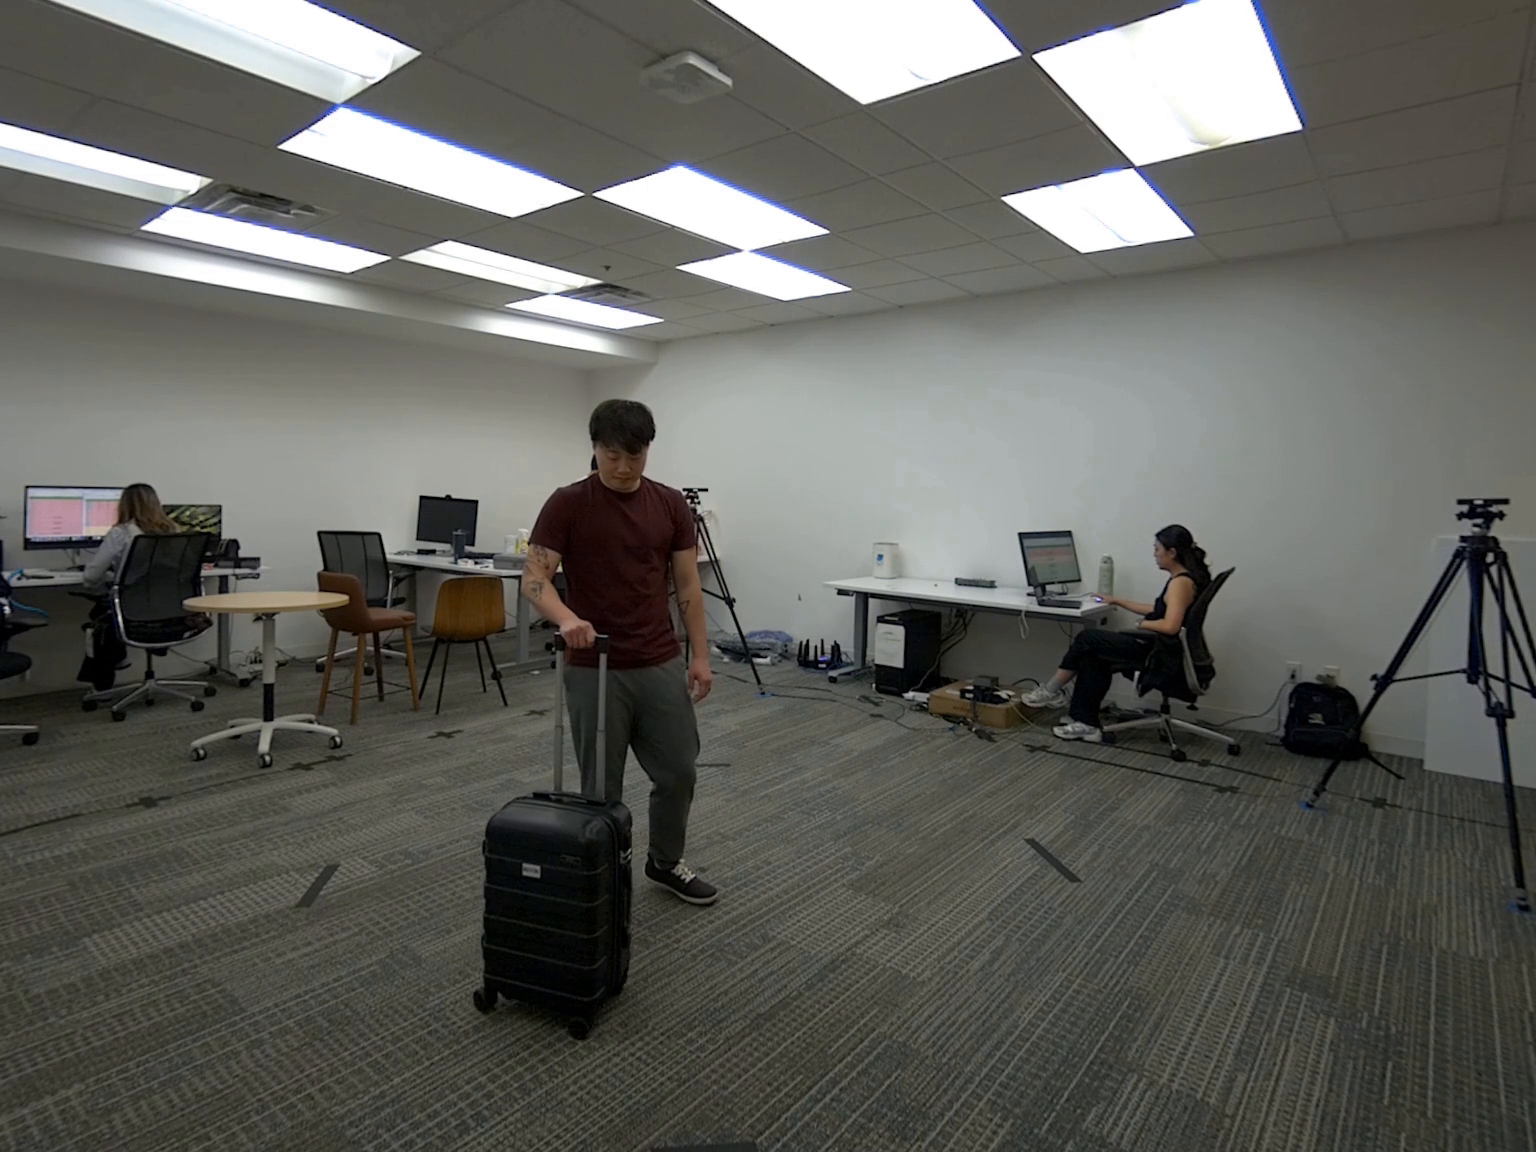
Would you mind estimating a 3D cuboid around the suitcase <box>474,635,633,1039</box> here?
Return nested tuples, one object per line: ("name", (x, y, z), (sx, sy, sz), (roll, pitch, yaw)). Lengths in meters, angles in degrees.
("suitcase", (-0.565, 0.675, 2.257), (0.392, 0.972, 0.253), (4, 7, 18))
